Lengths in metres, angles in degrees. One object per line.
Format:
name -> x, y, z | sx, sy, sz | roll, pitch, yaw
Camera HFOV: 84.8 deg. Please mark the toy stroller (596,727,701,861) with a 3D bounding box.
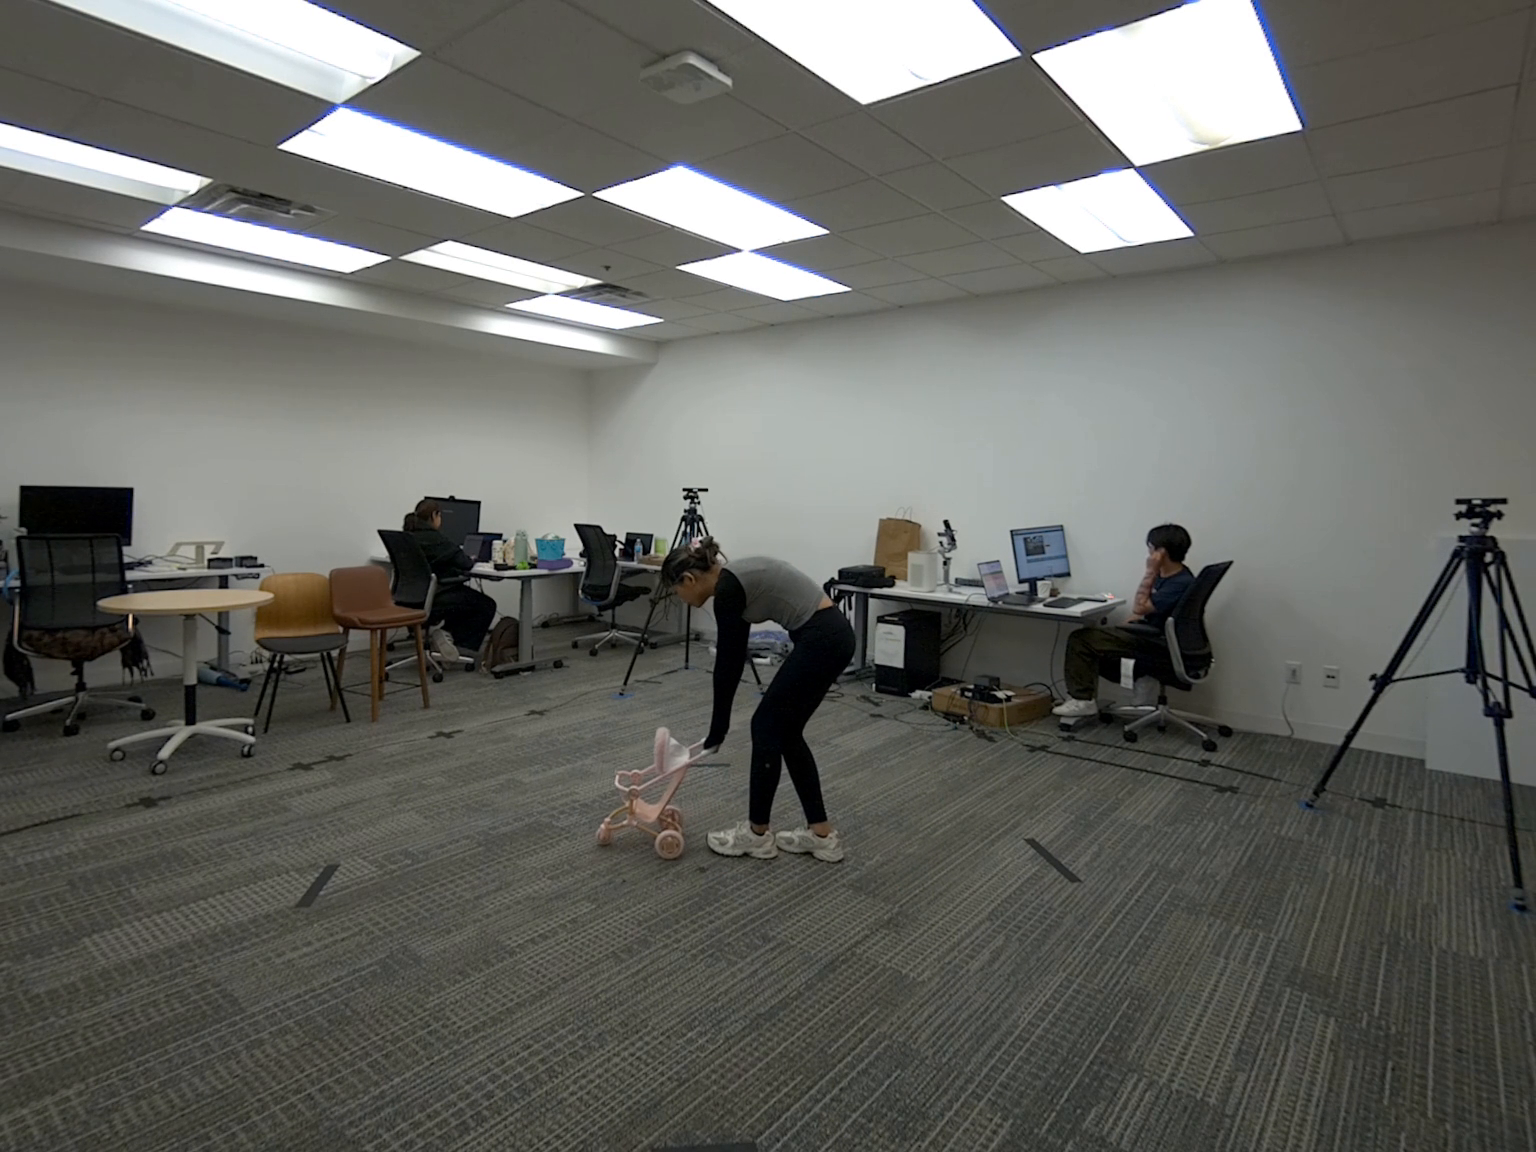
toy stroller -> -0.453, 0.826, 3.312 | 0.341, 0.534, 0.282 | 17, 2, -1
